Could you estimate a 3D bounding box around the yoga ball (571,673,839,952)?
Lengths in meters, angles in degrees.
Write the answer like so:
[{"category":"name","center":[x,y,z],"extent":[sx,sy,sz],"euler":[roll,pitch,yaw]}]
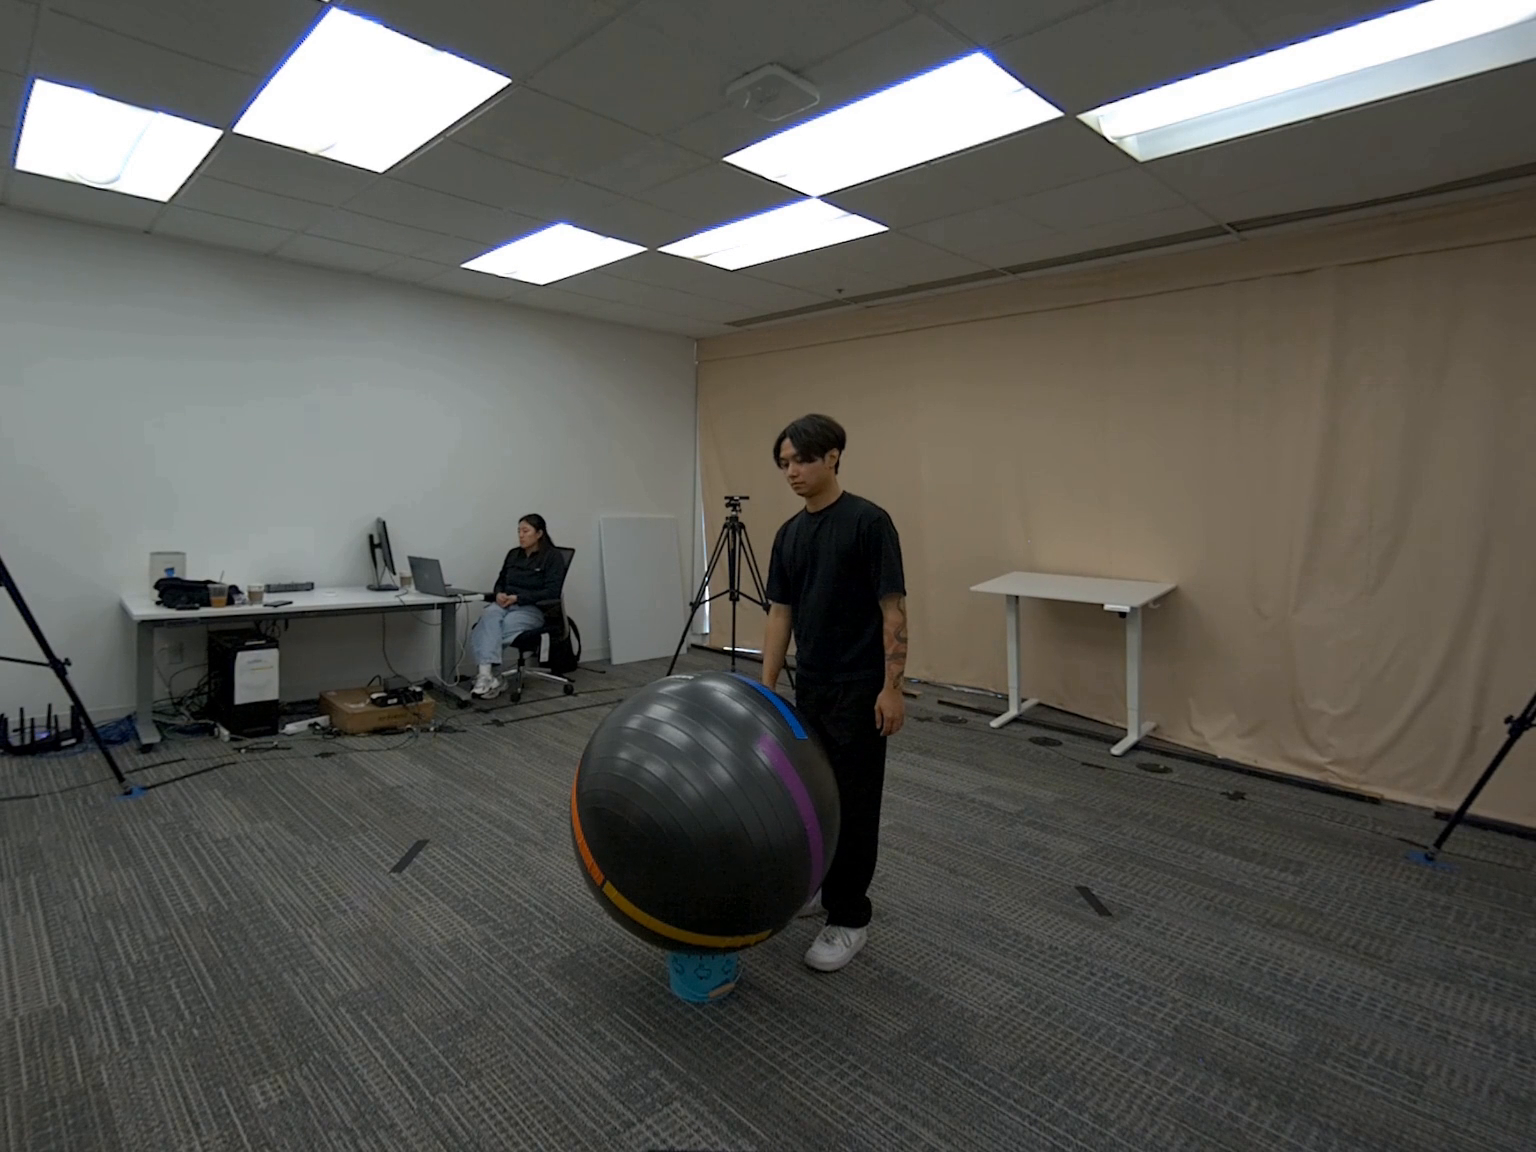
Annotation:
[{"category":"yoga ball","center":[-0.189,0.663,2.376],"extent":[0.757,0.756,0.761],"euler":[1,4,-1]}]
